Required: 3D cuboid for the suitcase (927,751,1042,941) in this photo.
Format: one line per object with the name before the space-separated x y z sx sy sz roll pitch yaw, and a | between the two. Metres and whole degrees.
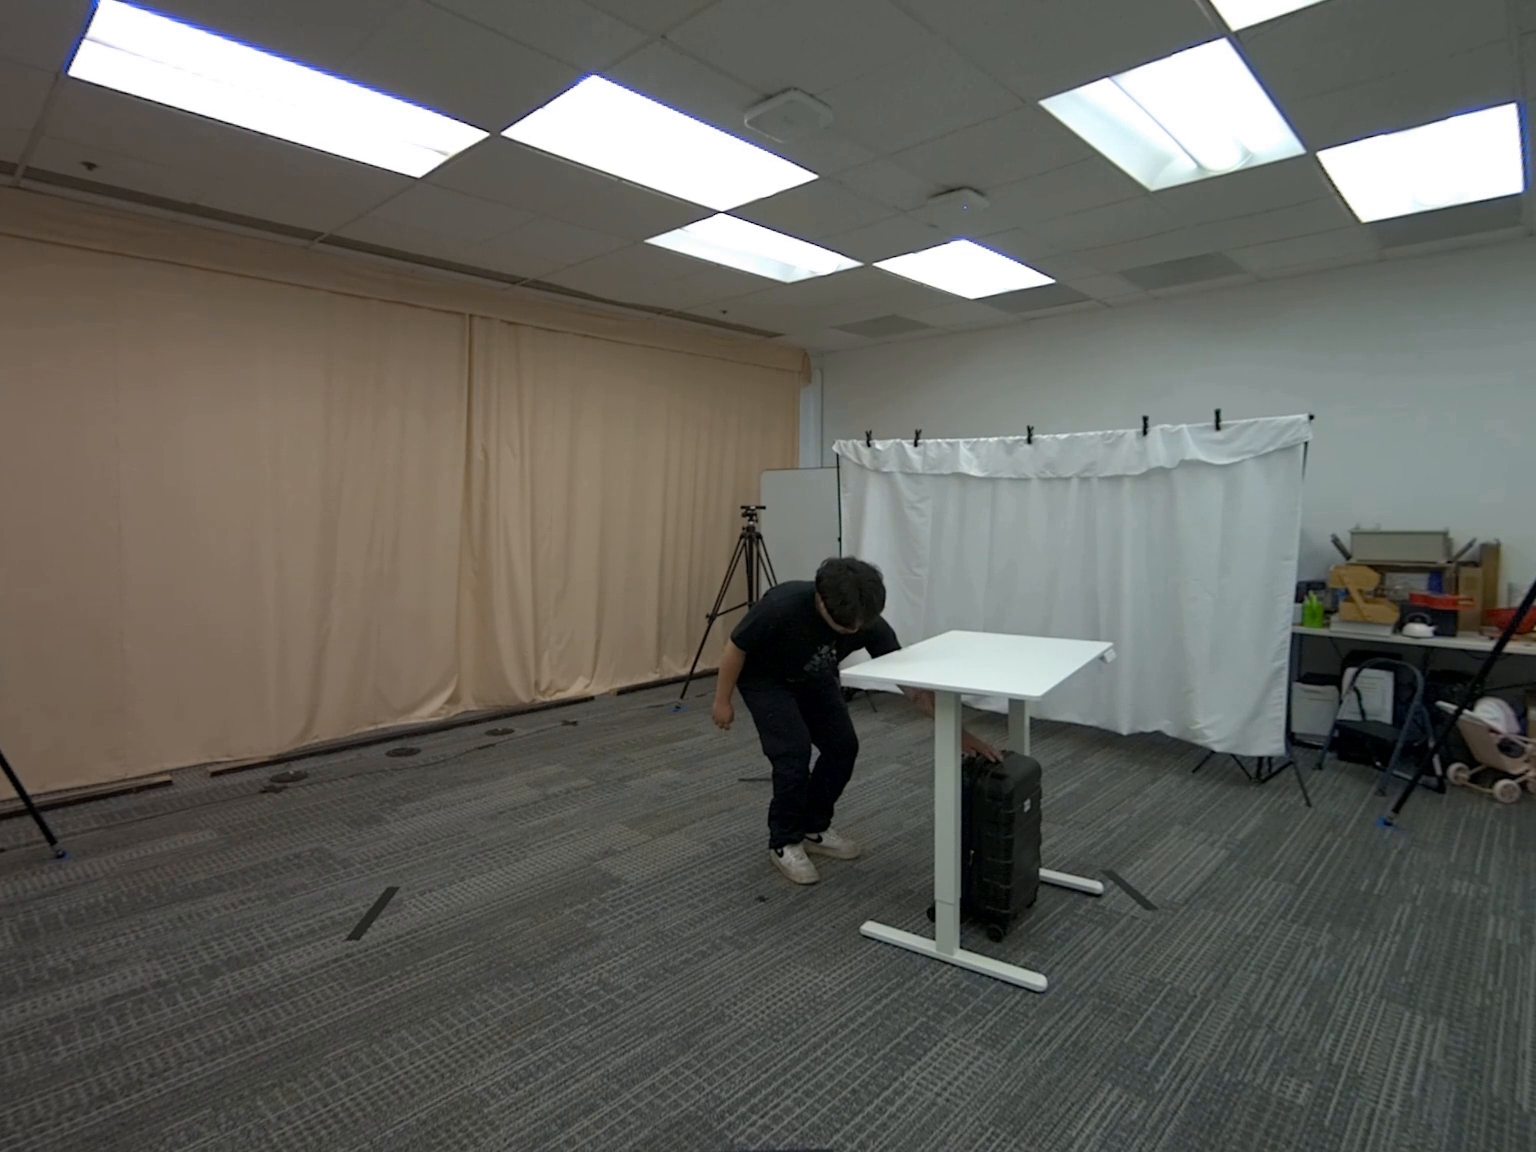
suitcase | 0.761 0.880 2.853 0.256 0.548 0.364 5 5 37
